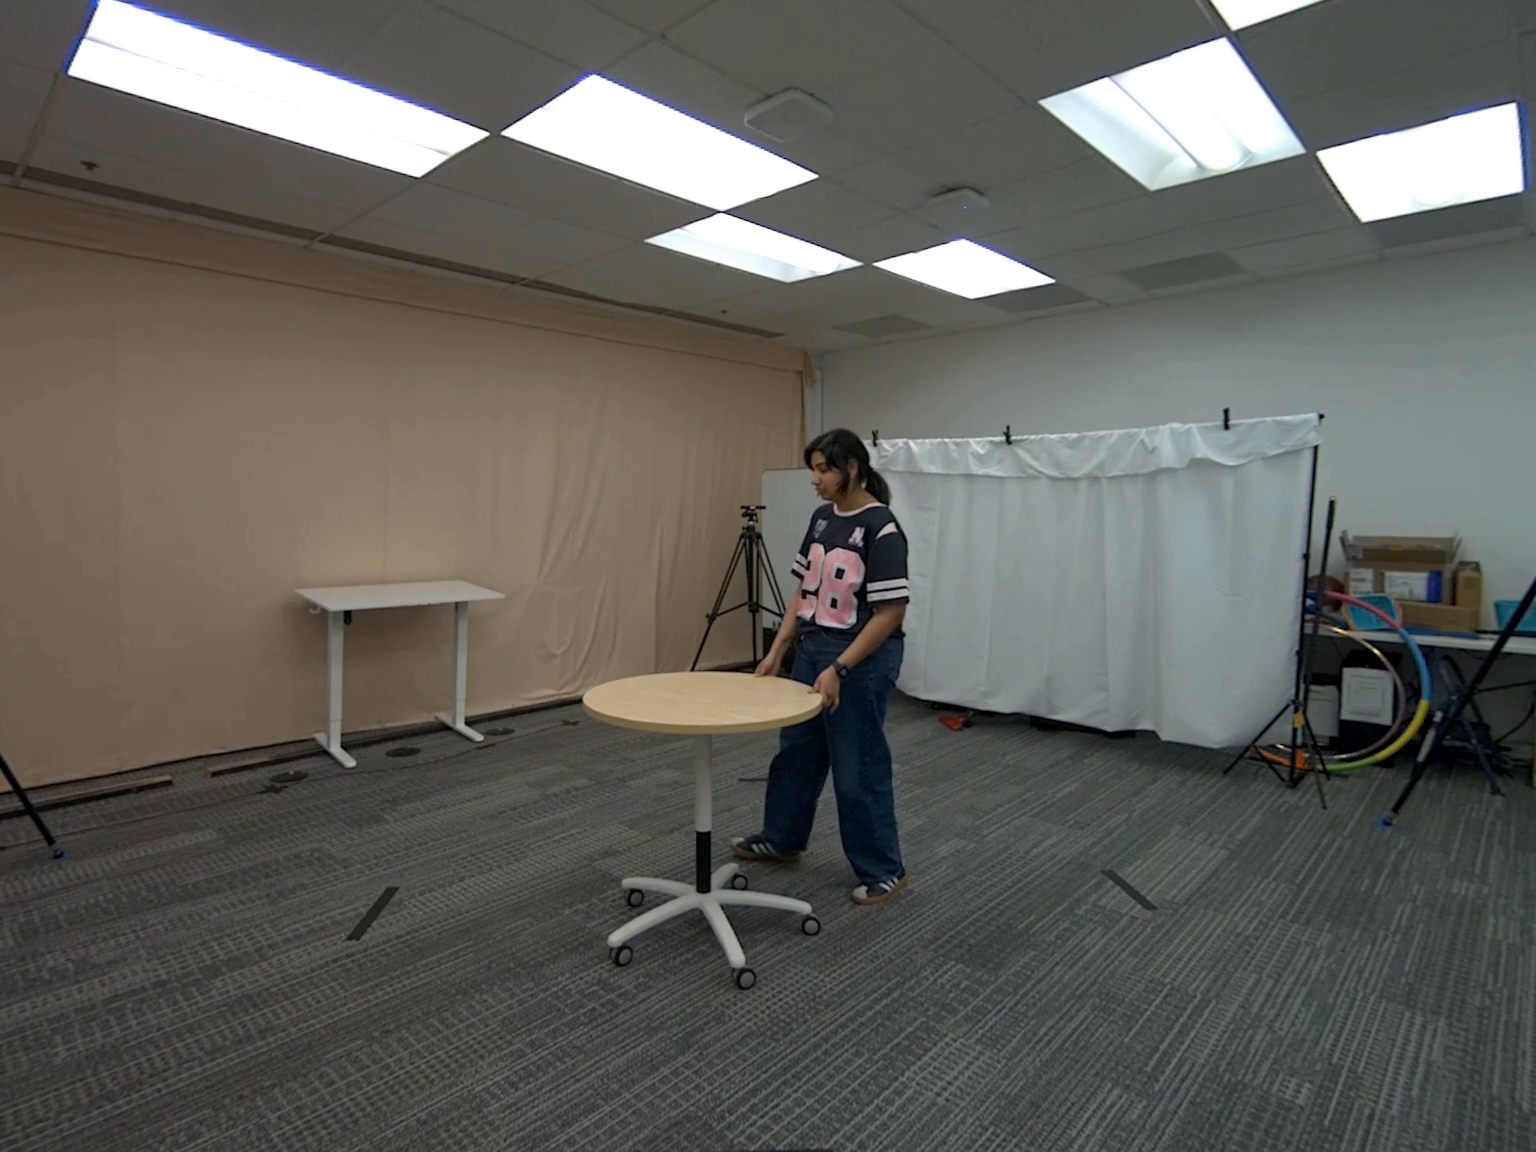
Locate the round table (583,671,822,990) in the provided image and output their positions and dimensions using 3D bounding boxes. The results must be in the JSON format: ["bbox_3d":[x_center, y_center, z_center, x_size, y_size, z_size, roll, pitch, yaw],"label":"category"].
[{"bbox_3d":[-0.221,0.773,2.721,0.784,0.785,0.788,0,3,-2],"label":"round table"}]
